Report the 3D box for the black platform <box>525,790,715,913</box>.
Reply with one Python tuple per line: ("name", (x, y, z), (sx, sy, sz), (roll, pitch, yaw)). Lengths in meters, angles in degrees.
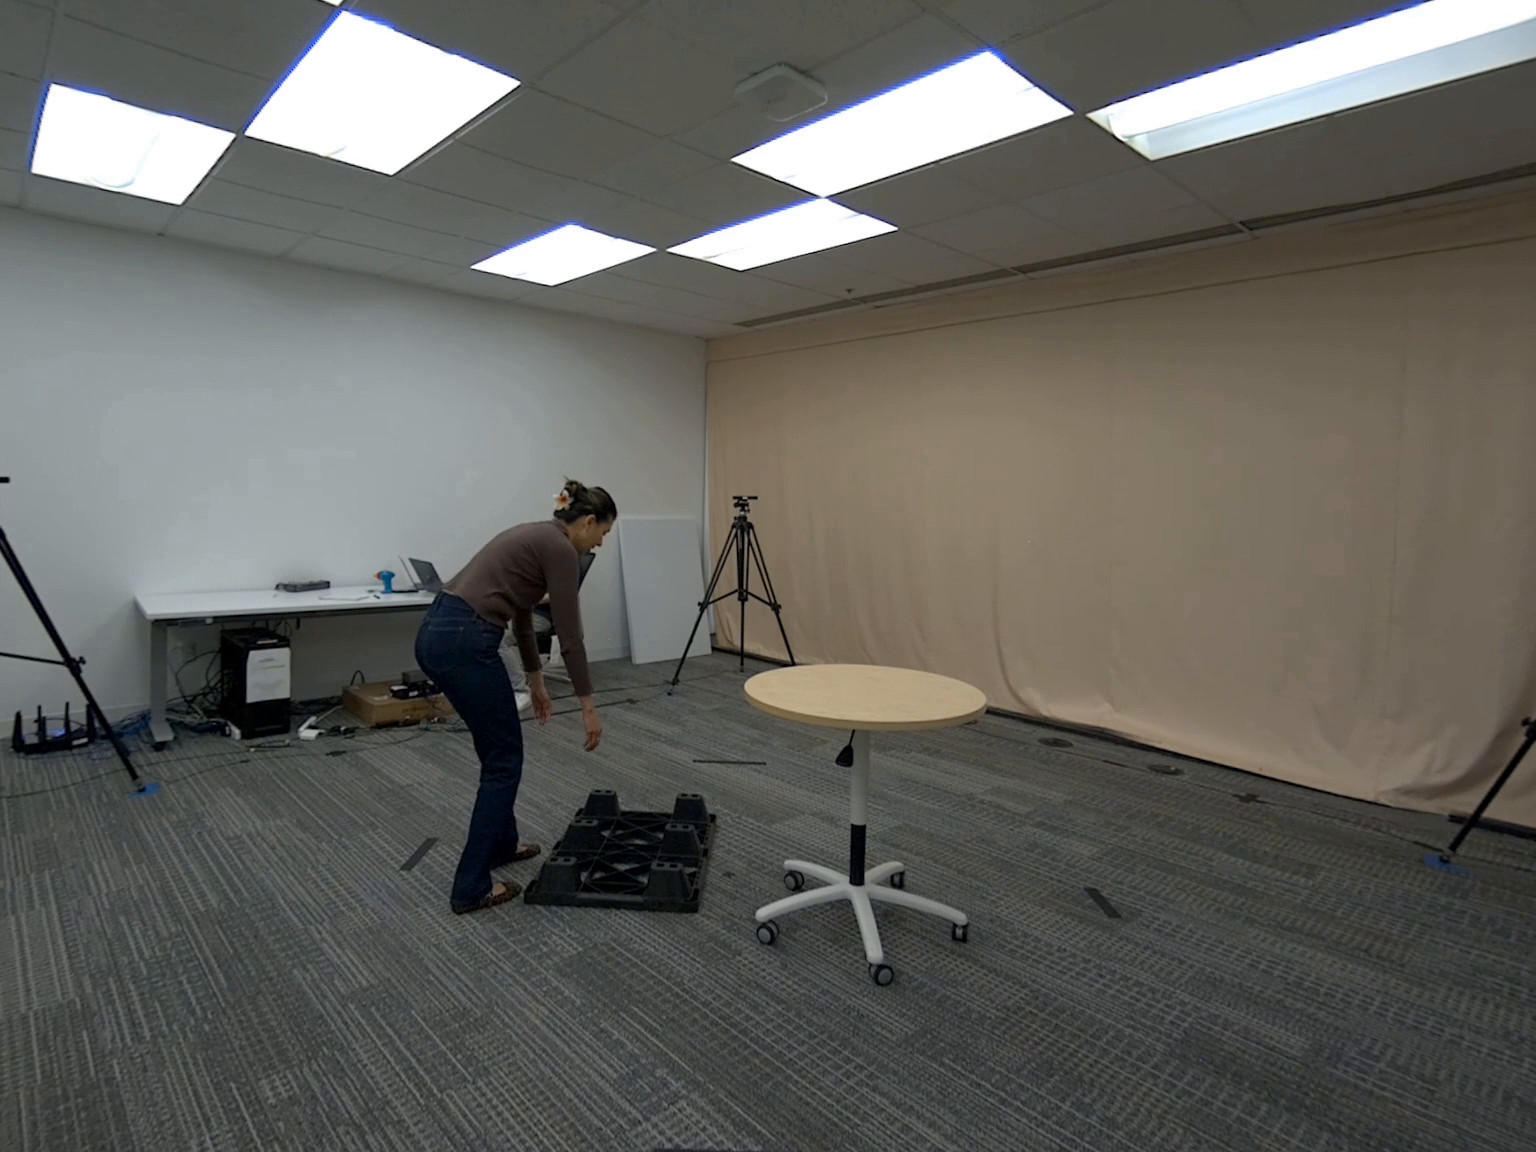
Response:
("black platform", (-0.532, 1.016, 3.222), (0.606, 0.143, 0.806), (2, 5, 1))
